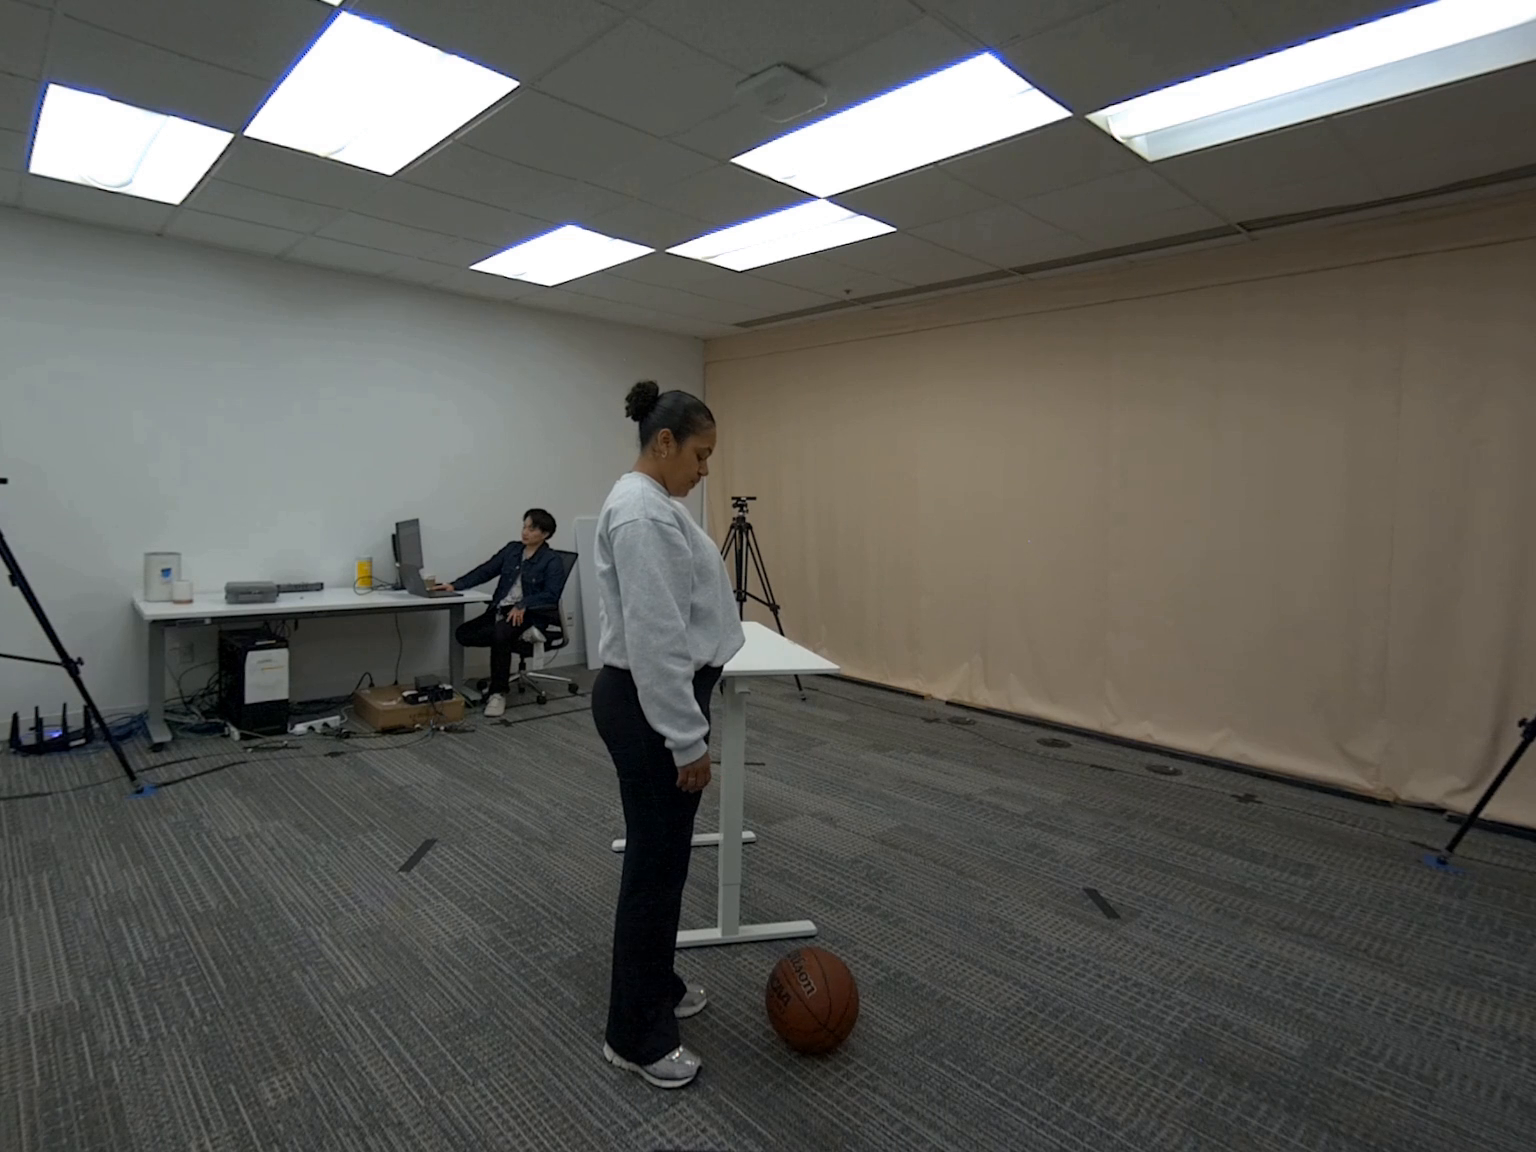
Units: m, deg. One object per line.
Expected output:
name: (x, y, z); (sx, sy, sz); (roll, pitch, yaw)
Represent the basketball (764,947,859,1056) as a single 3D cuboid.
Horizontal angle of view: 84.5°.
basketball: (0.102, 1.081, 2.148); (0.236, 0.235, 0.237); (1, 4, -1)
